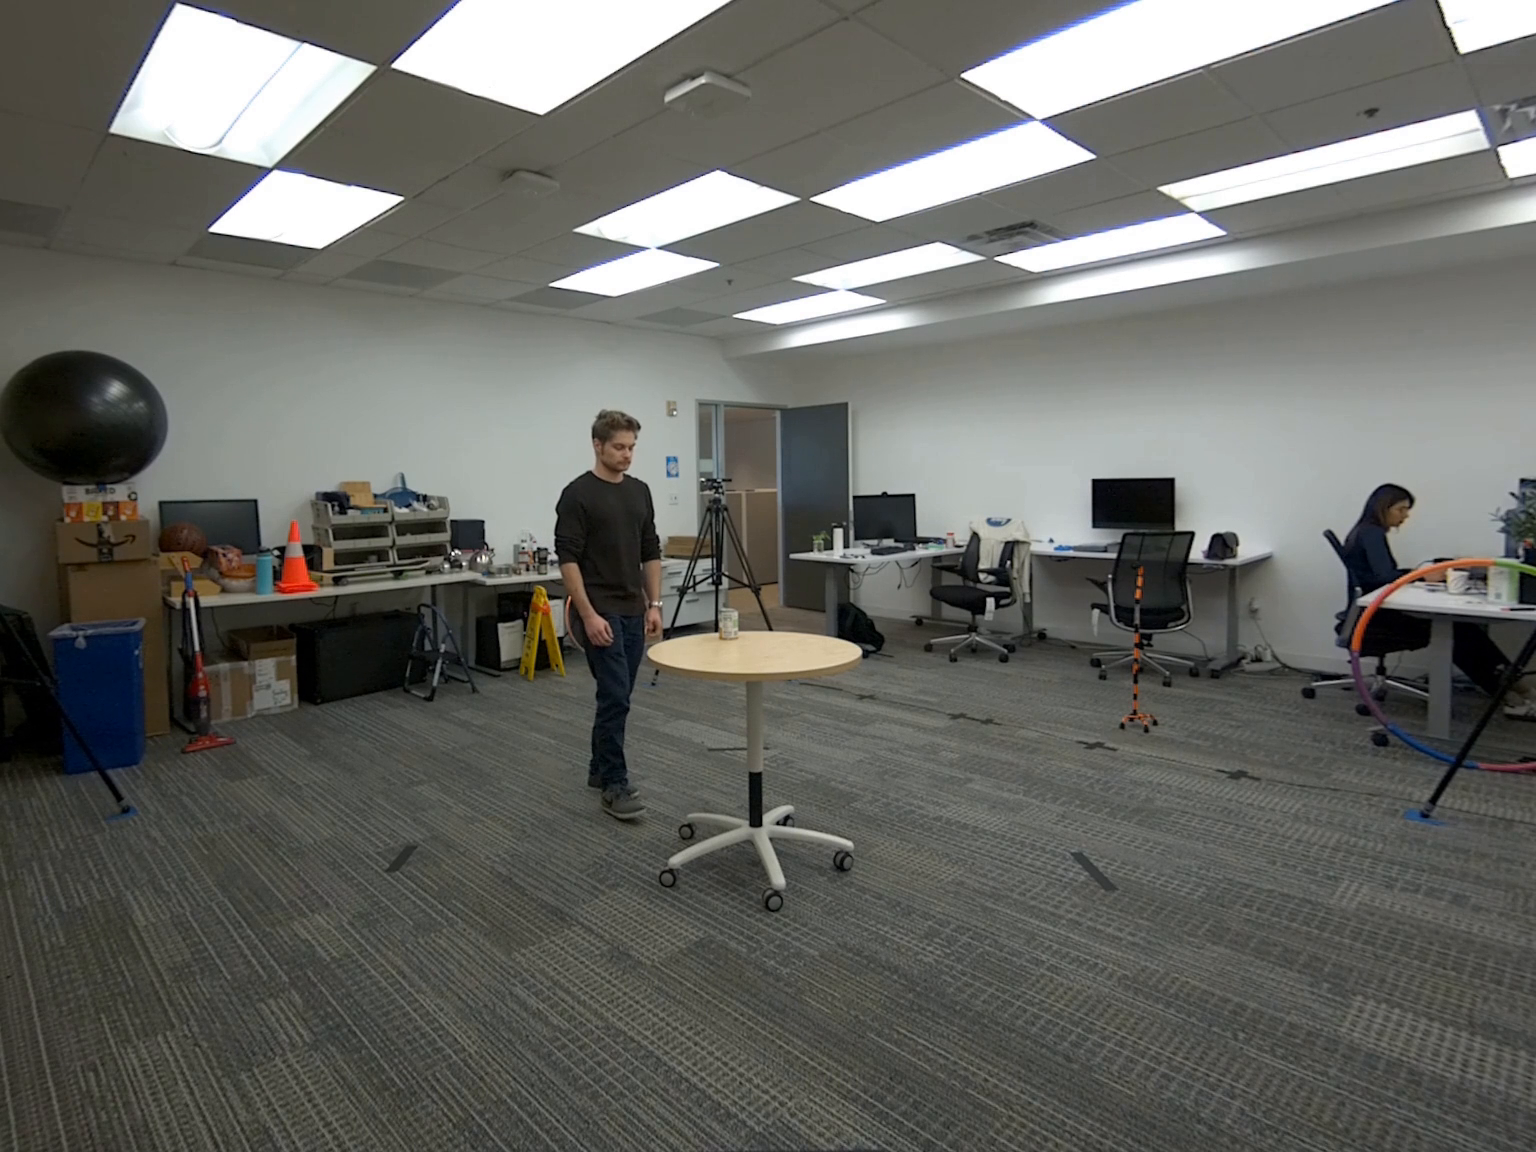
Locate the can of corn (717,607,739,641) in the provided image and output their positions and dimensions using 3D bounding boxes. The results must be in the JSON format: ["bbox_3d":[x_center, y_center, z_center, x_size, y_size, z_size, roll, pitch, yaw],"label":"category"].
[{"bbox_3d":[-0.150,0.185,3.289,0.074,0.111,0.074,-1,1,-2],"label":"can of corn"}]
